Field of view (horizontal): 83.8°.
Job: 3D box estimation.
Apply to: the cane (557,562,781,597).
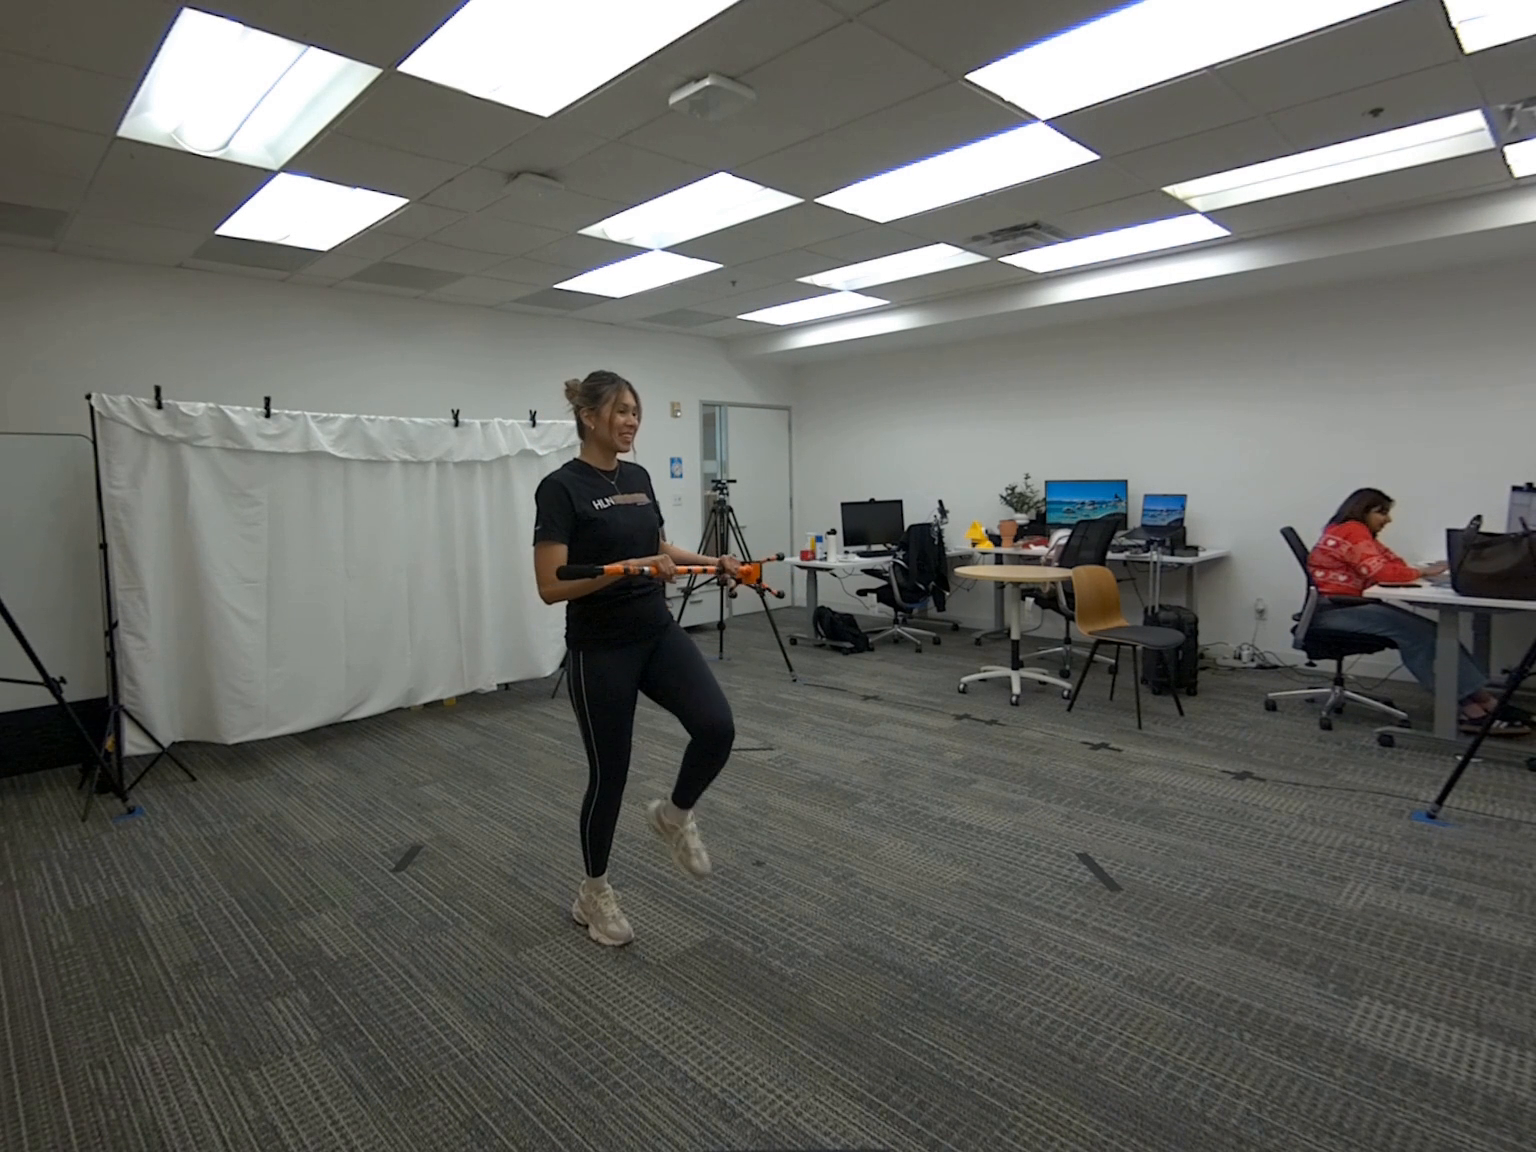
[{"bbox_3d":[-0.228,0.002,2.424,0.211,0.152,0.885,-4,-1,27],"label":"cane"}]
